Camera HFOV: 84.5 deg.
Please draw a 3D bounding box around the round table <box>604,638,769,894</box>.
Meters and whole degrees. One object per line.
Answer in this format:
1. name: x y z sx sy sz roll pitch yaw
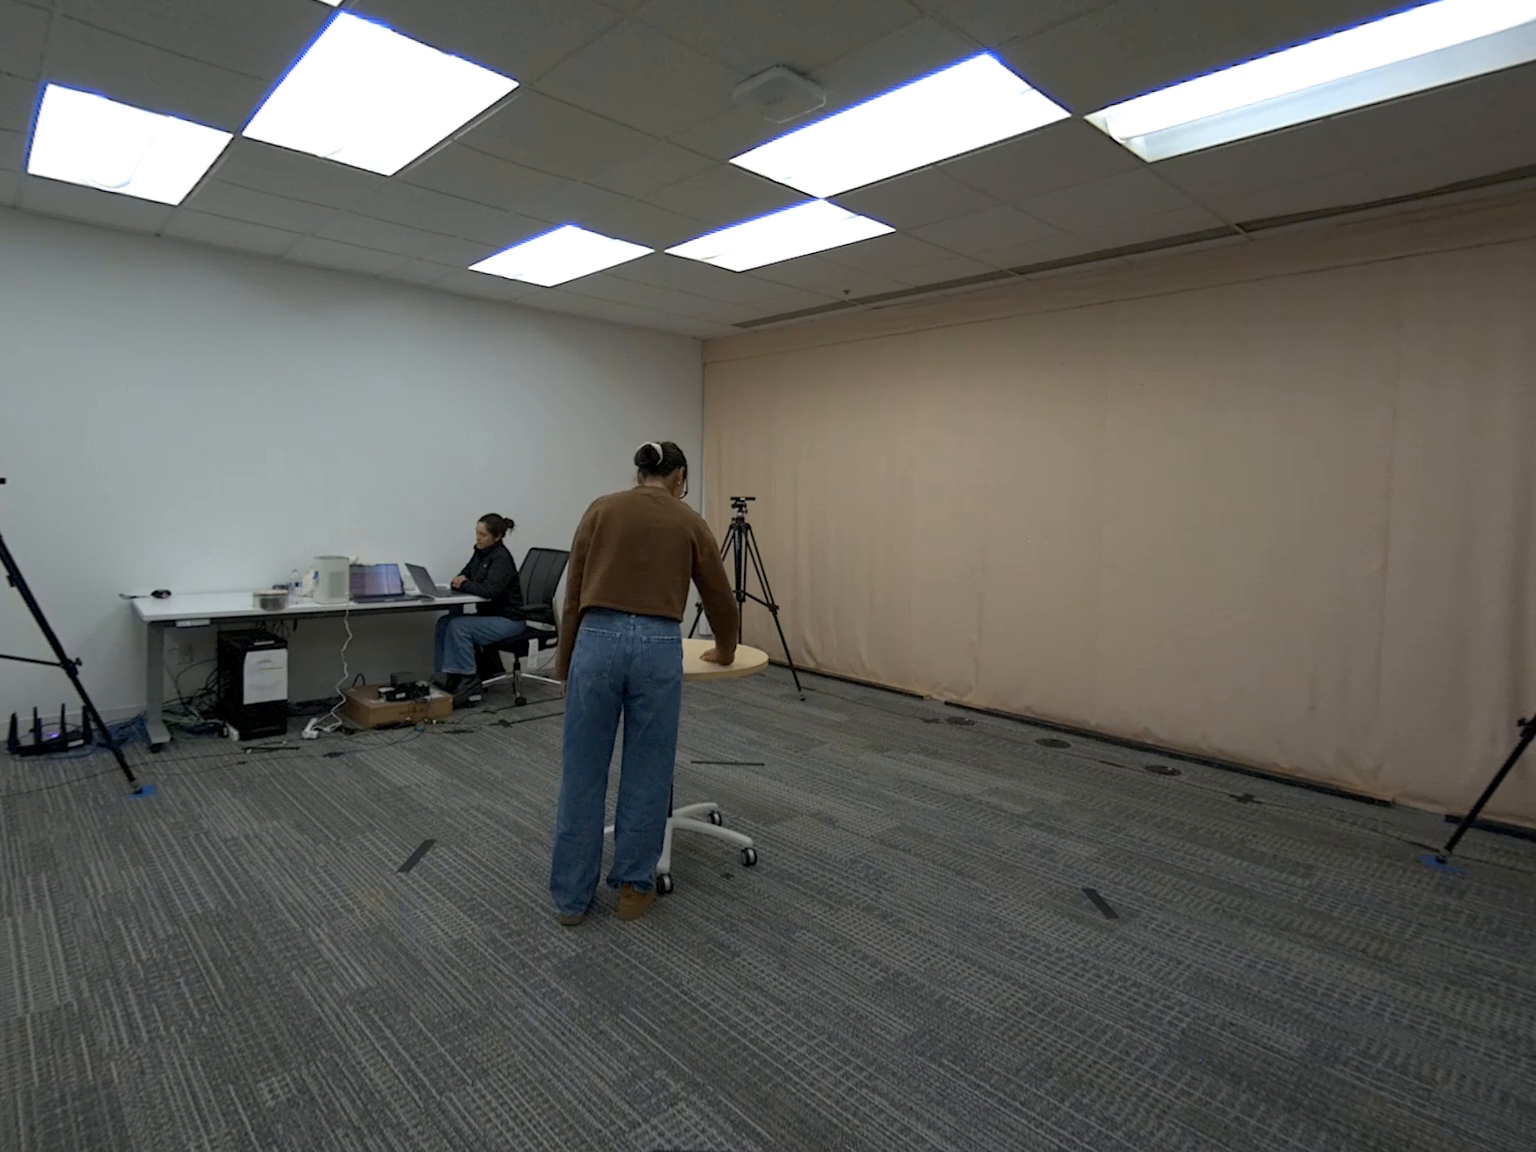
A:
1. round table: -0.401 0.698 3.297 0.763 0.792 0.766 1 3 -1
